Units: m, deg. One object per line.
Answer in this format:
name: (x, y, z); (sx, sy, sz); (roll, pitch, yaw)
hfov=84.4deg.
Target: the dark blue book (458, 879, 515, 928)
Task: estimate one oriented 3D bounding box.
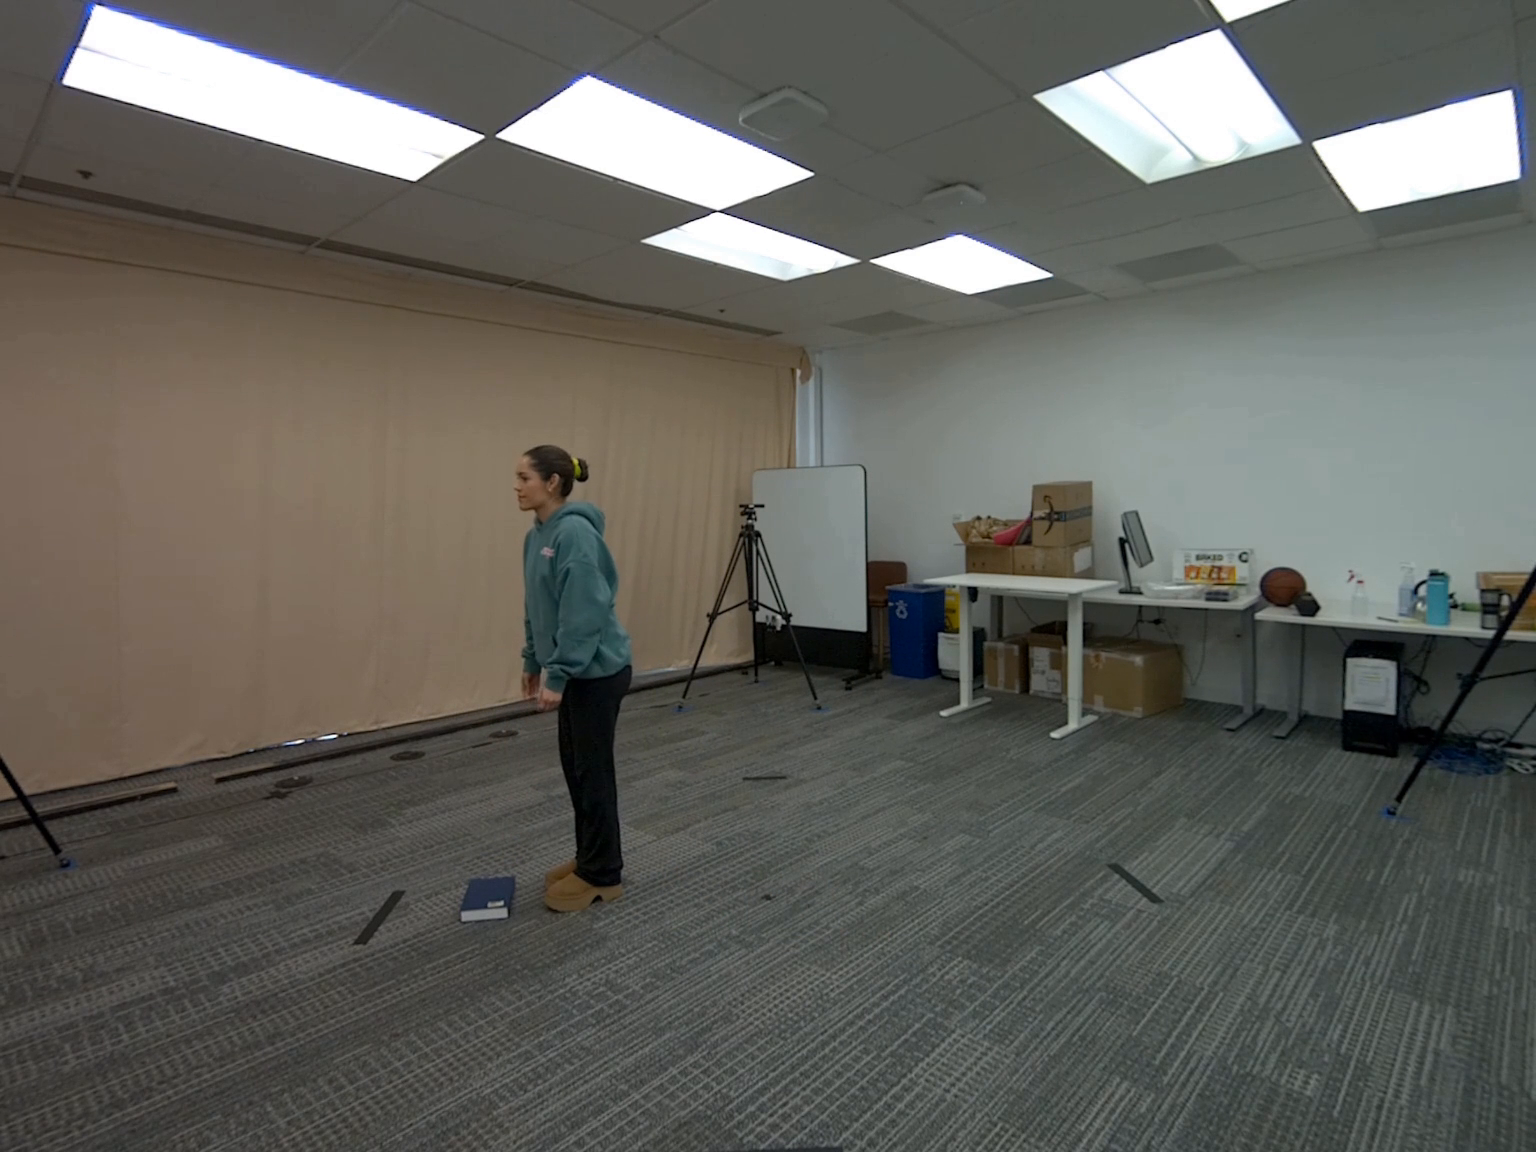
dark blue book: (-0.987, 1.146, 2.979); (0.162, 0.045, 0.248); (-2, 4, -11)
